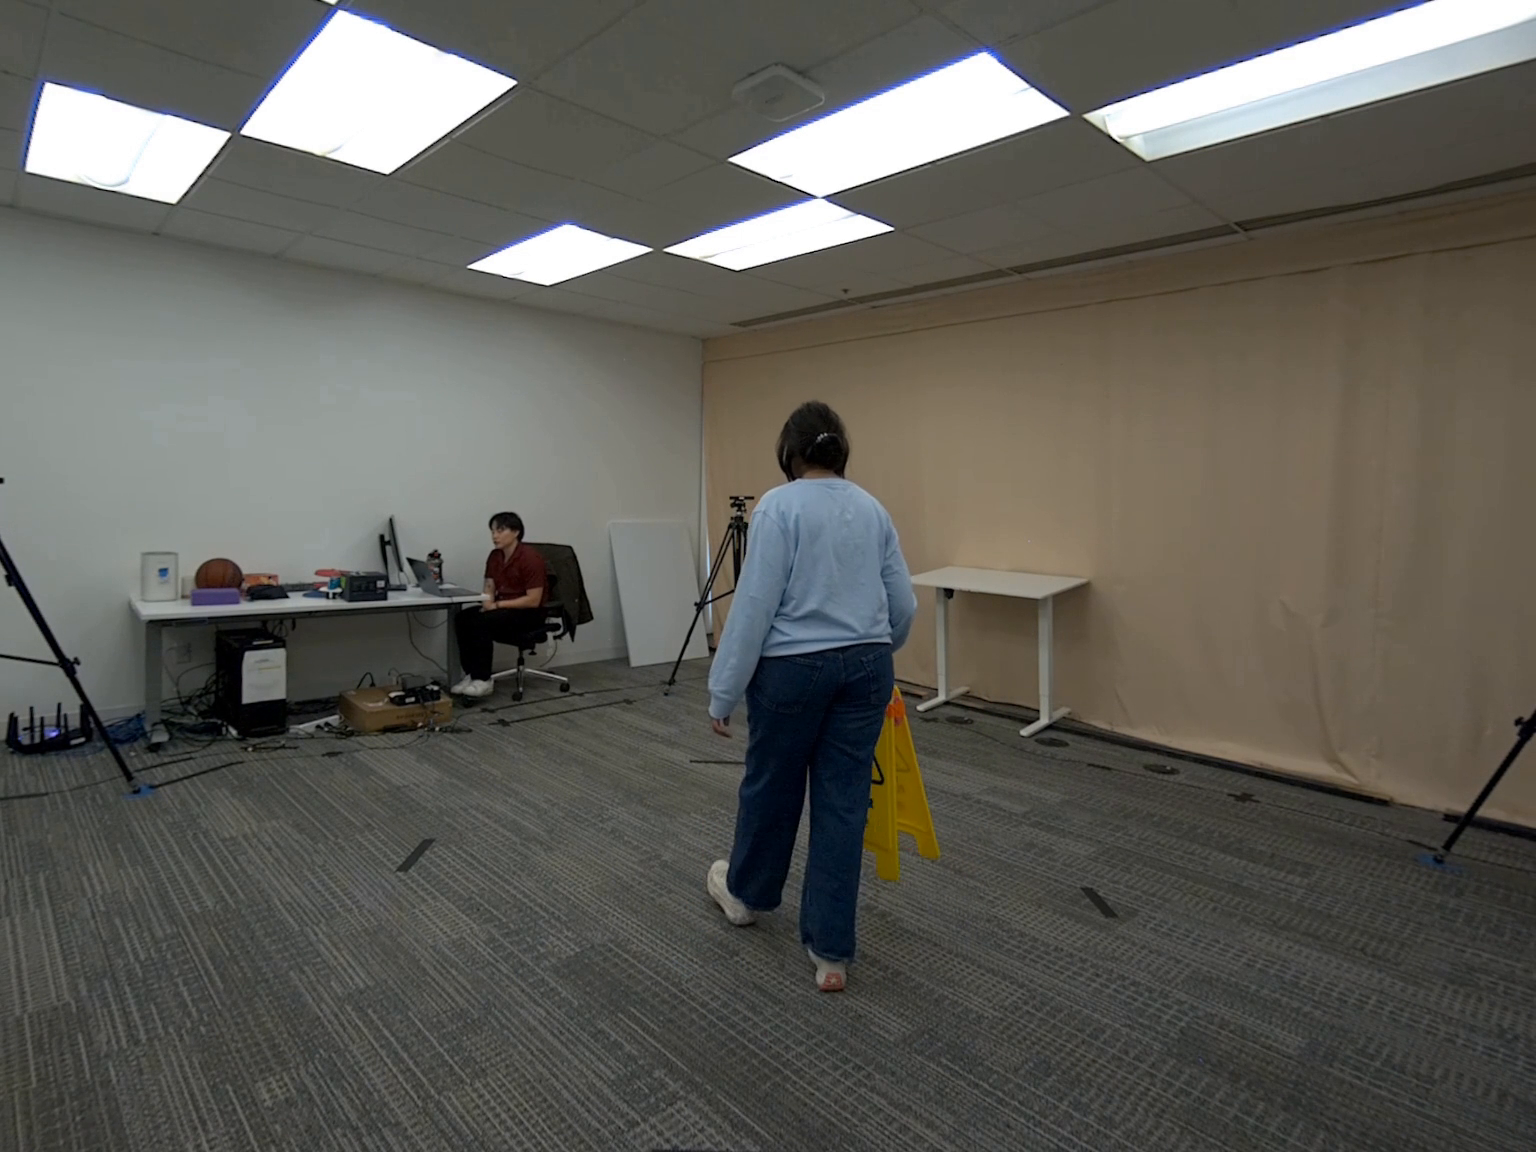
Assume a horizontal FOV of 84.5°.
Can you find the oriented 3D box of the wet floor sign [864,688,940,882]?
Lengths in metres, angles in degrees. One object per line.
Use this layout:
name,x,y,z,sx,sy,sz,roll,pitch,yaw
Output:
wet floor sign,0.337,0.608,2.748,0.283,0.647,0.288,-3,-2,-44
